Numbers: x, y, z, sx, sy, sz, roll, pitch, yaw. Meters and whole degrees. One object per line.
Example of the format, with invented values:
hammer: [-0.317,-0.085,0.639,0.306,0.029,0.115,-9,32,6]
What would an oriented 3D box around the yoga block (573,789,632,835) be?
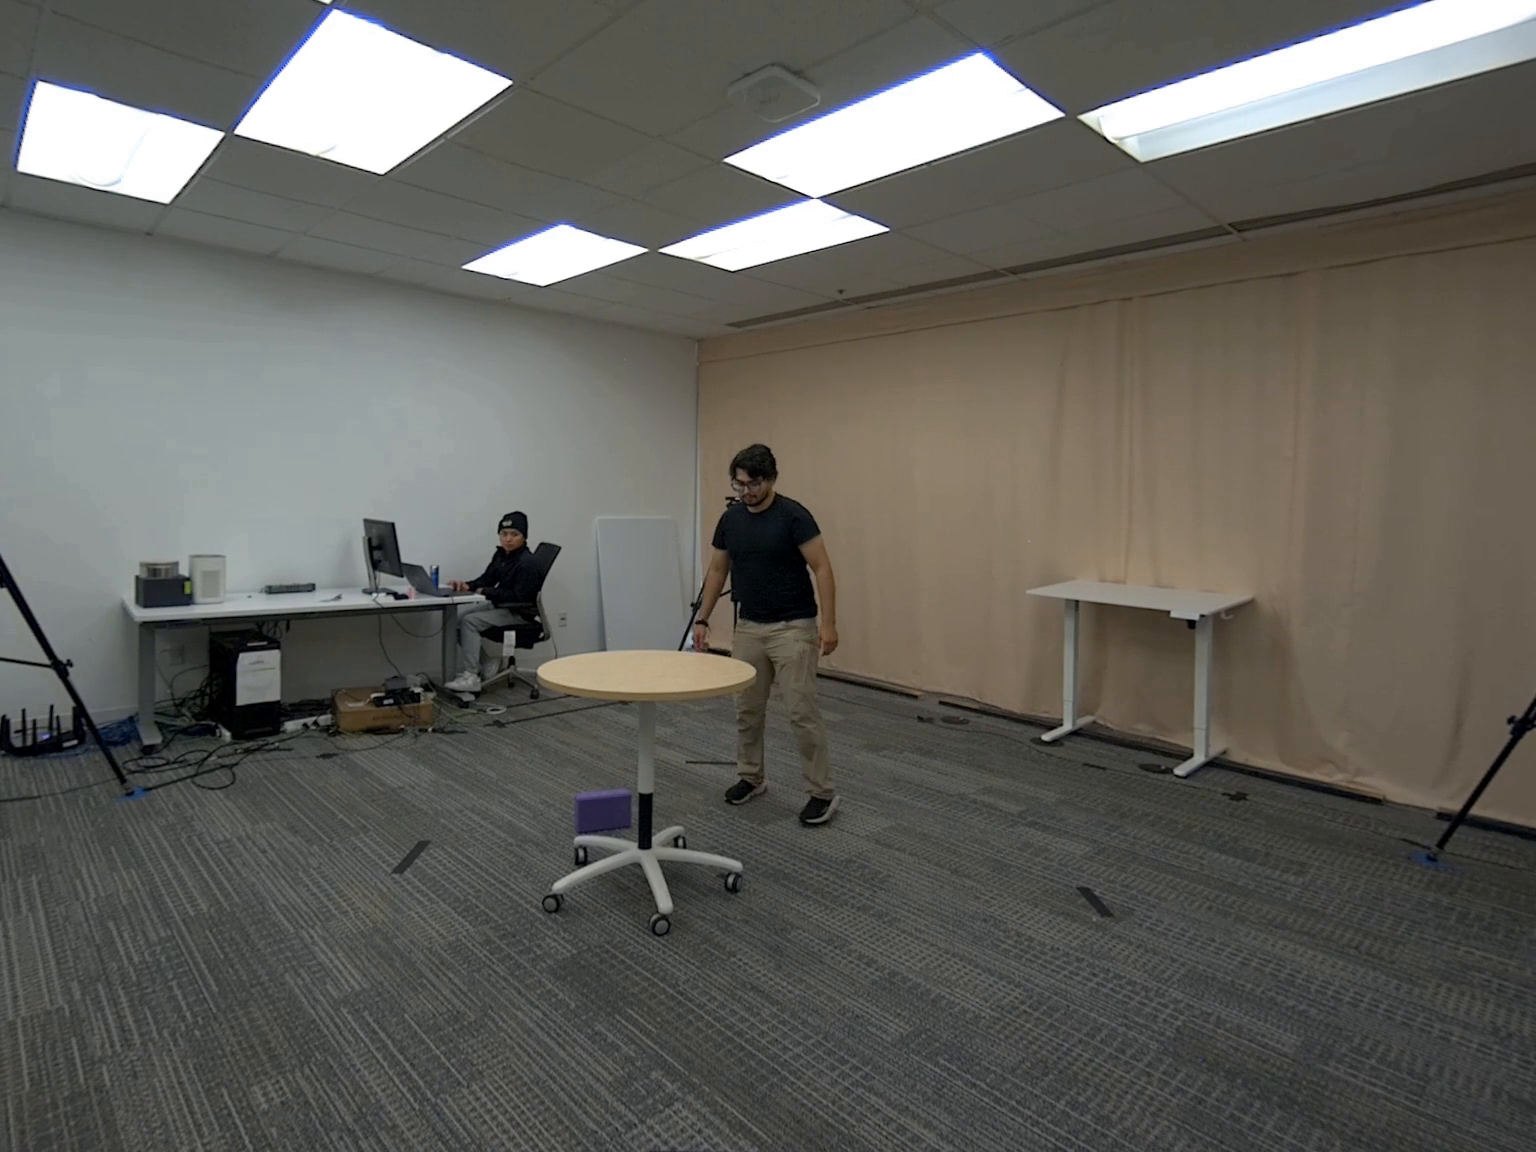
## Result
yoga block: [-0.700,0.980,3.525,0.226,0.148,0.078,0,5,-21]
